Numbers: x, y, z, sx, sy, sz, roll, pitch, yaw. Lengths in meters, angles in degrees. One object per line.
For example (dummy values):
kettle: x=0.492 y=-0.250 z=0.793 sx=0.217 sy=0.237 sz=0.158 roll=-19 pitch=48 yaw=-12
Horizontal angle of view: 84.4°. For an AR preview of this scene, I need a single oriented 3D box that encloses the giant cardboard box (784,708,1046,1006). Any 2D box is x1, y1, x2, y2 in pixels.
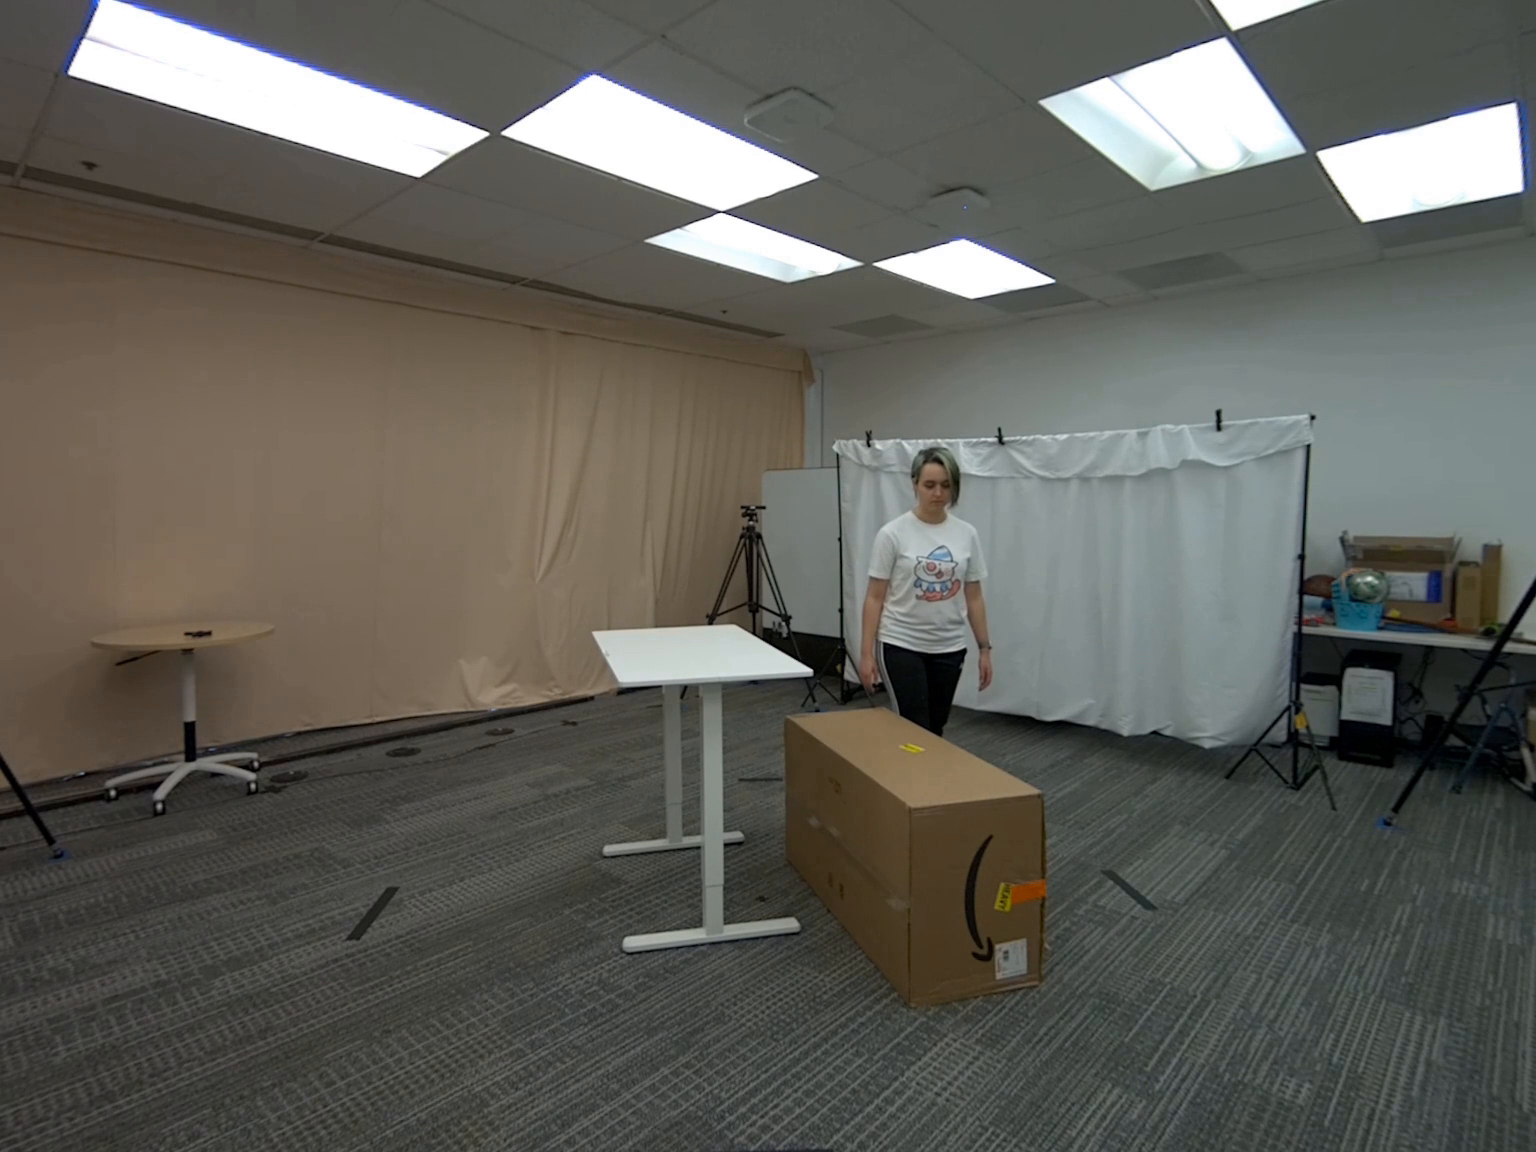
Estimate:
giant cardboard box: x=0.434 y=0.861 z=2.855 sx=0.439 sy=0.582 sz=1.048 roll=-1 pitch=5 yaw=-18
